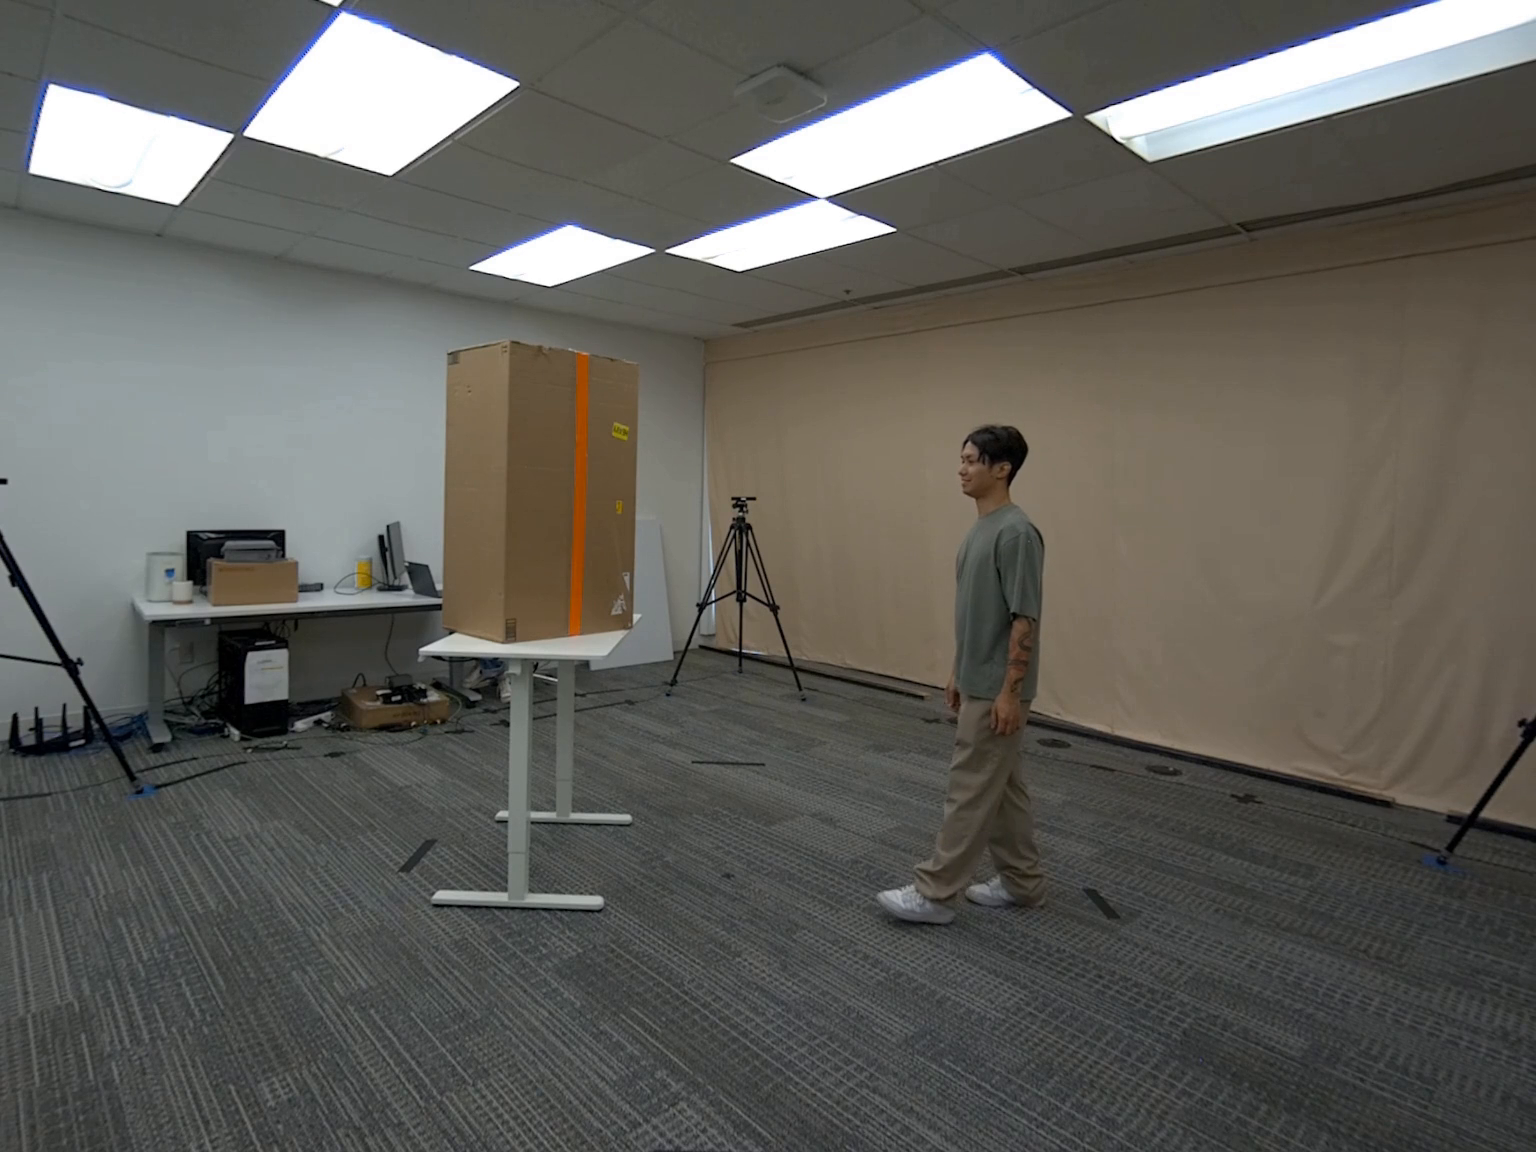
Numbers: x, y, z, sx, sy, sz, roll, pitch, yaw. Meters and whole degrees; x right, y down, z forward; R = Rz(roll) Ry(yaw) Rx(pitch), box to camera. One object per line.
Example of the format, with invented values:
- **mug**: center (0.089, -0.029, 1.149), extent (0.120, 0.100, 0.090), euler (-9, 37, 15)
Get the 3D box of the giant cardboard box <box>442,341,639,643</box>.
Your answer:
- **giant cardboard box**: center (-0.852, -0.306, 3.164), extent (0.437, 1.023, 0.564), euler (5, 4, 41)
